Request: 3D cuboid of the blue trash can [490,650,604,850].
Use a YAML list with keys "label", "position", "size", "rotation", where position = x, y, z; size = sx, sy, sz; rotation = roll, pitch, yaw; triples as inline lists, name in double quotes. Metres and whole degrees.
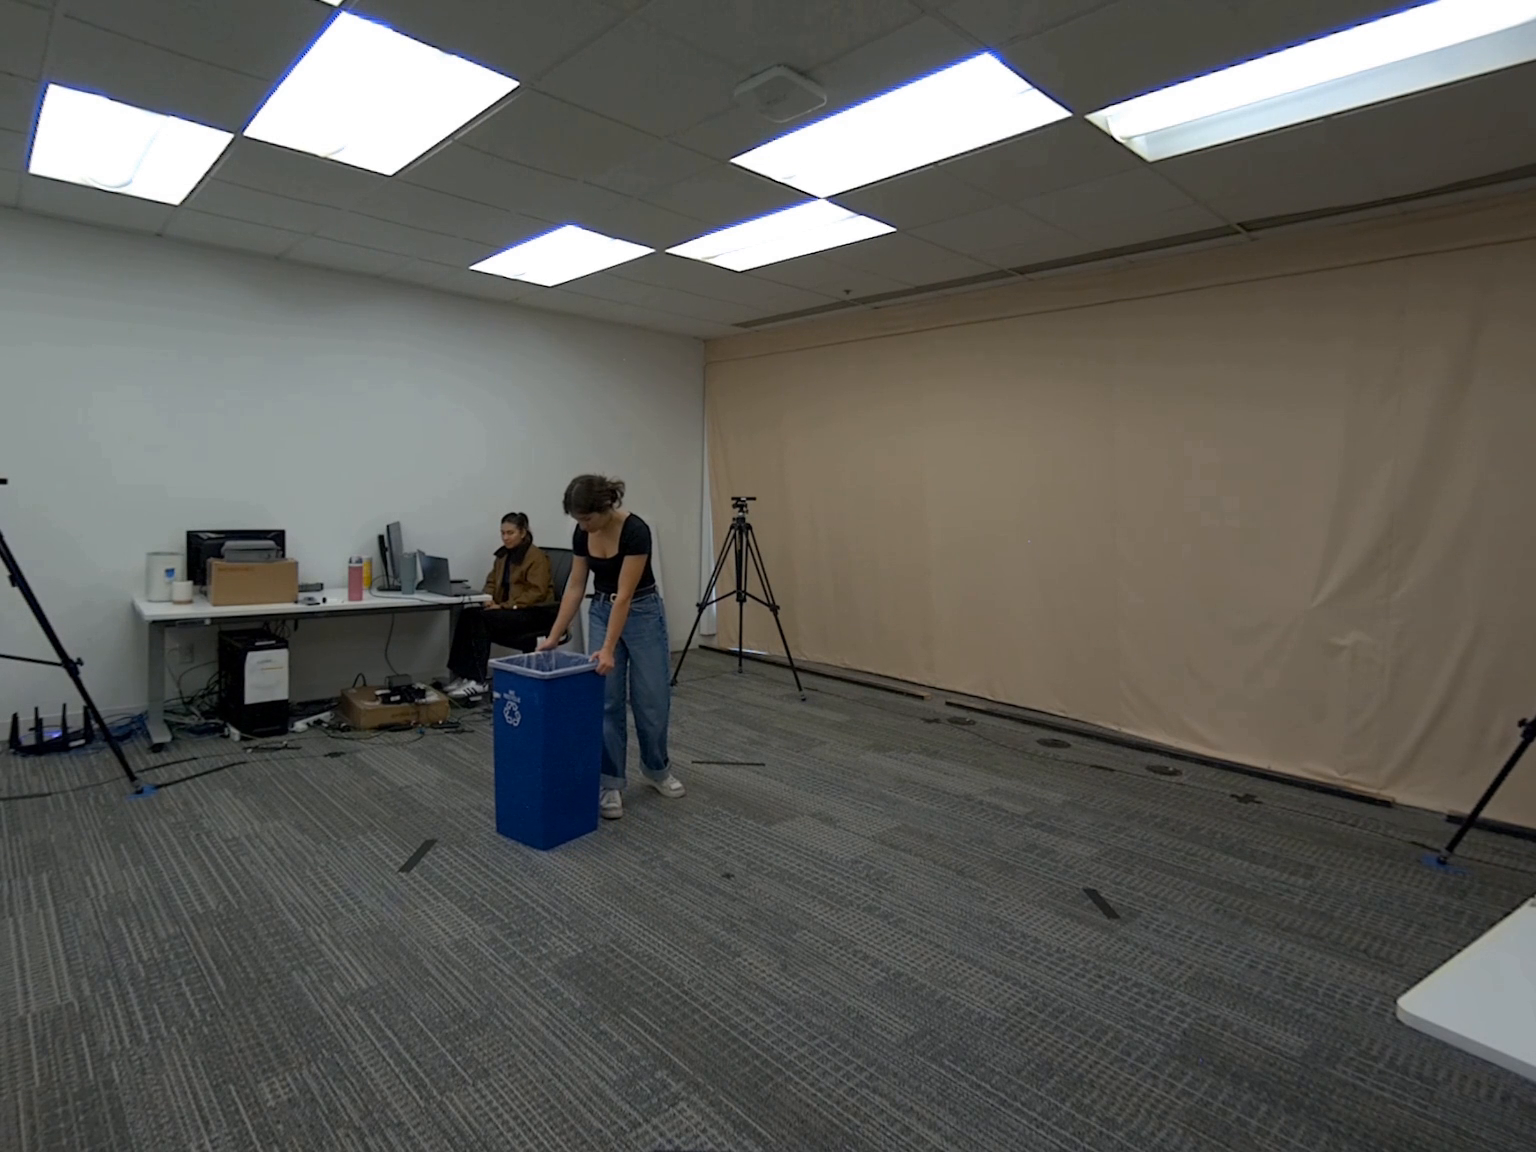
- label: "blue trash can"
  position: [-0.908, 0.699, 3.464]
  size: [0.383, 0.712, 0.370]
  rotation: [3, 4, 36]
